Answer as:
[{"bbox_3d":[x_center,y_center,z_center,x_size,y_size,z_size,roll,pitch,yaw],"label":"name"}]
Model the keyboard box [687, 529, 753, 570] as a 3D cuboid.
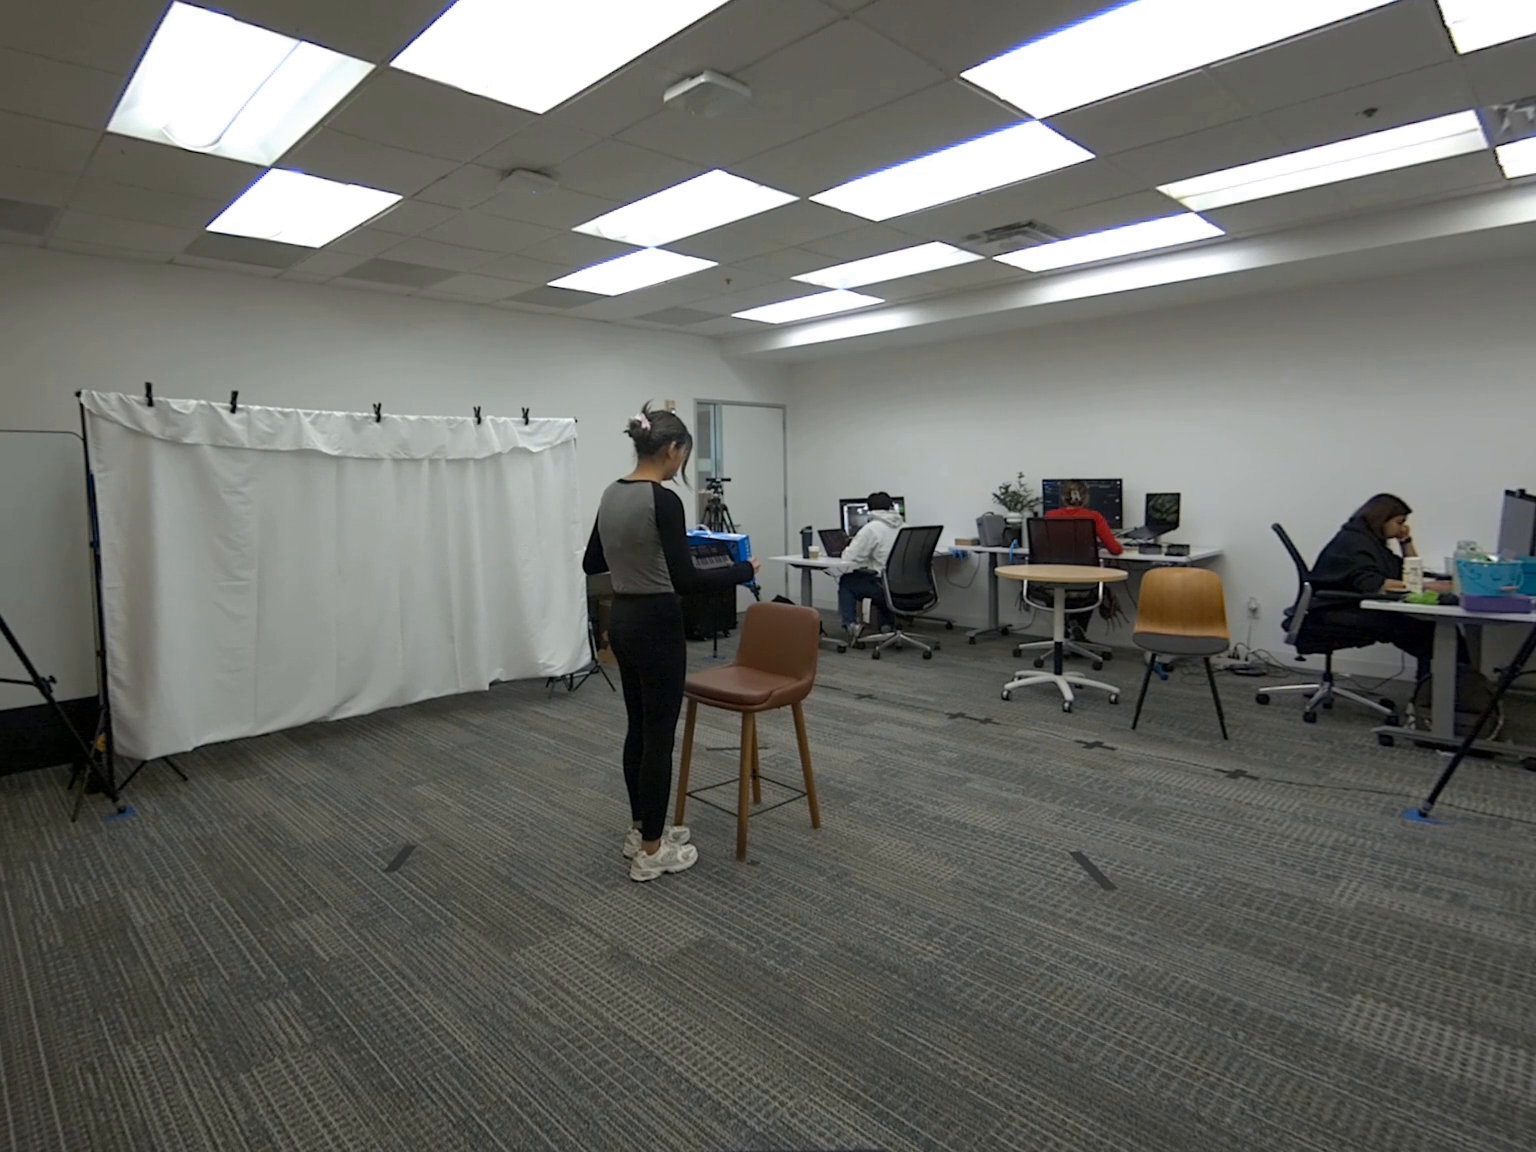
[{"bbox_3d":[-0.236,-0.075,3.175,0.451,0.173,0.058,7,21,44],"label":"keyboard box"}]
